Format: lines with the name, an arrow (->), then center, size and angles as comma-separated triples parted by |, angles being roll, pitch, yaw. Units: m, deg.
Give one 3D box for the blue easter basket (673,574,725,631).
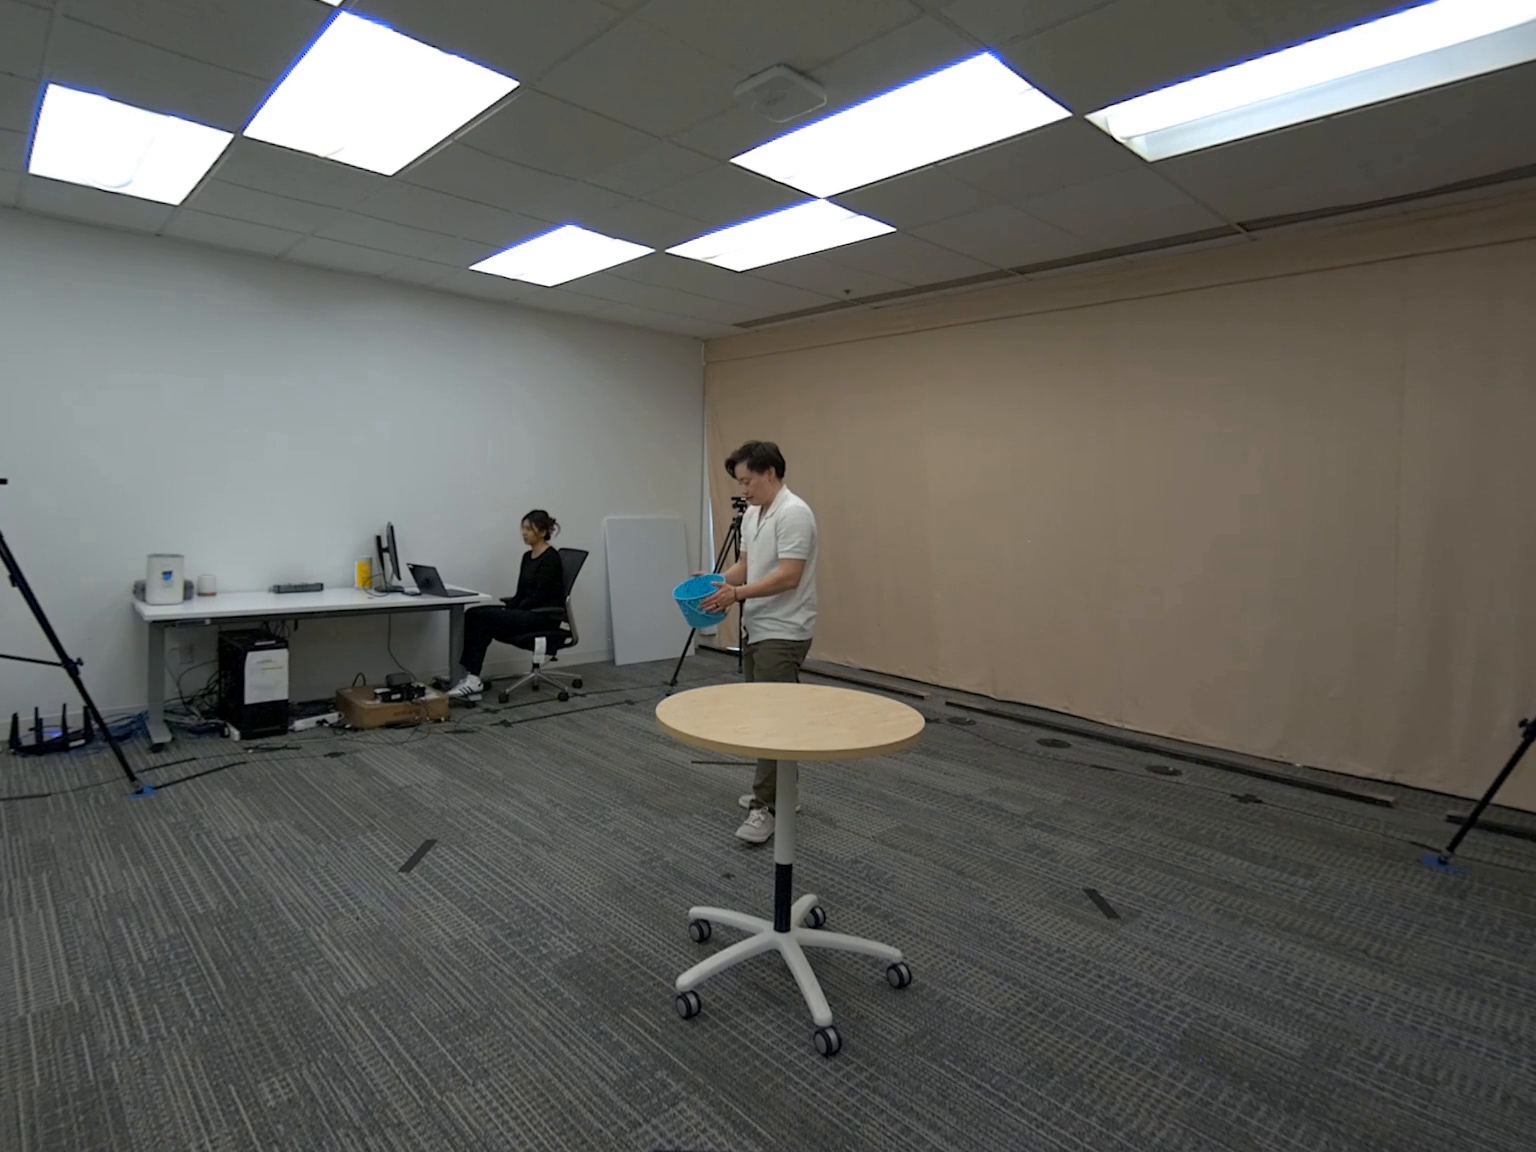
blue easter basket -> -0.279, 0.115, 3.585 | 0.244, 0.153, 0.247 | -15, 22, 4
